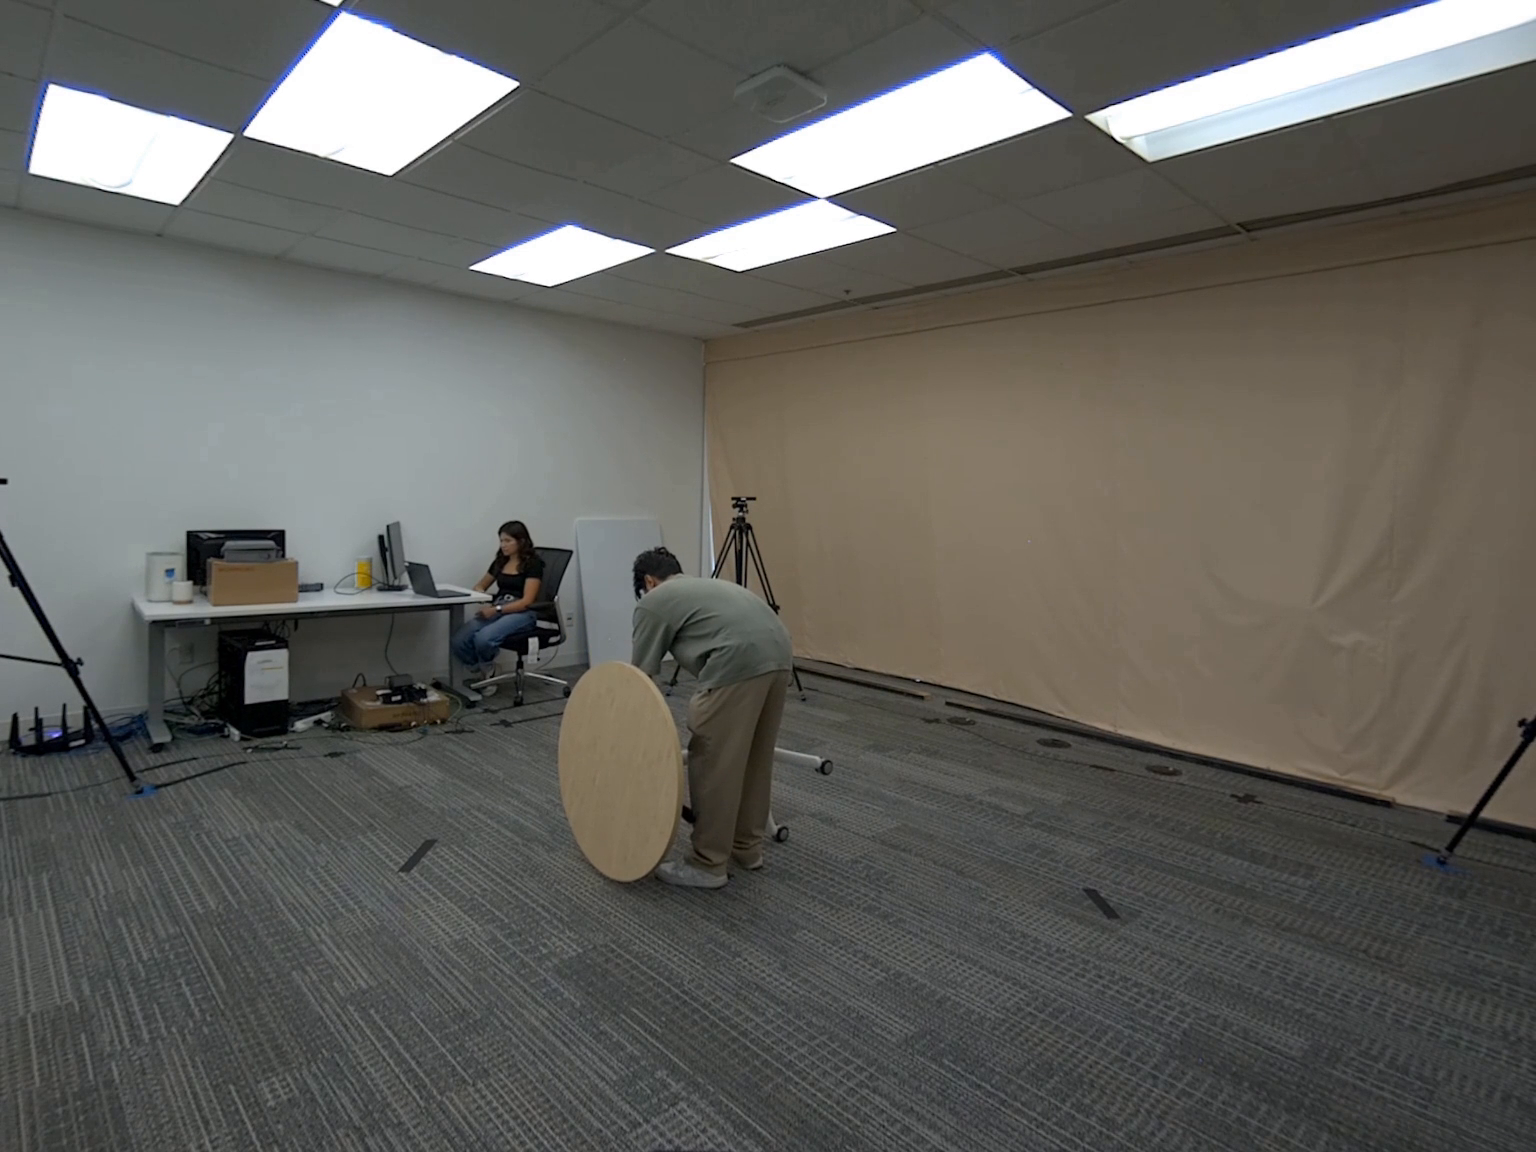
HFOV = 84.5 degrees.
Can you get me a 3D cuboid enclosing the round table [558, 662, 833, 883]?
[{"bbox_3d":[-0.285,0.707,3.297,0.767,0.785,0.805,4,1,-44],"label":"round table"}]
